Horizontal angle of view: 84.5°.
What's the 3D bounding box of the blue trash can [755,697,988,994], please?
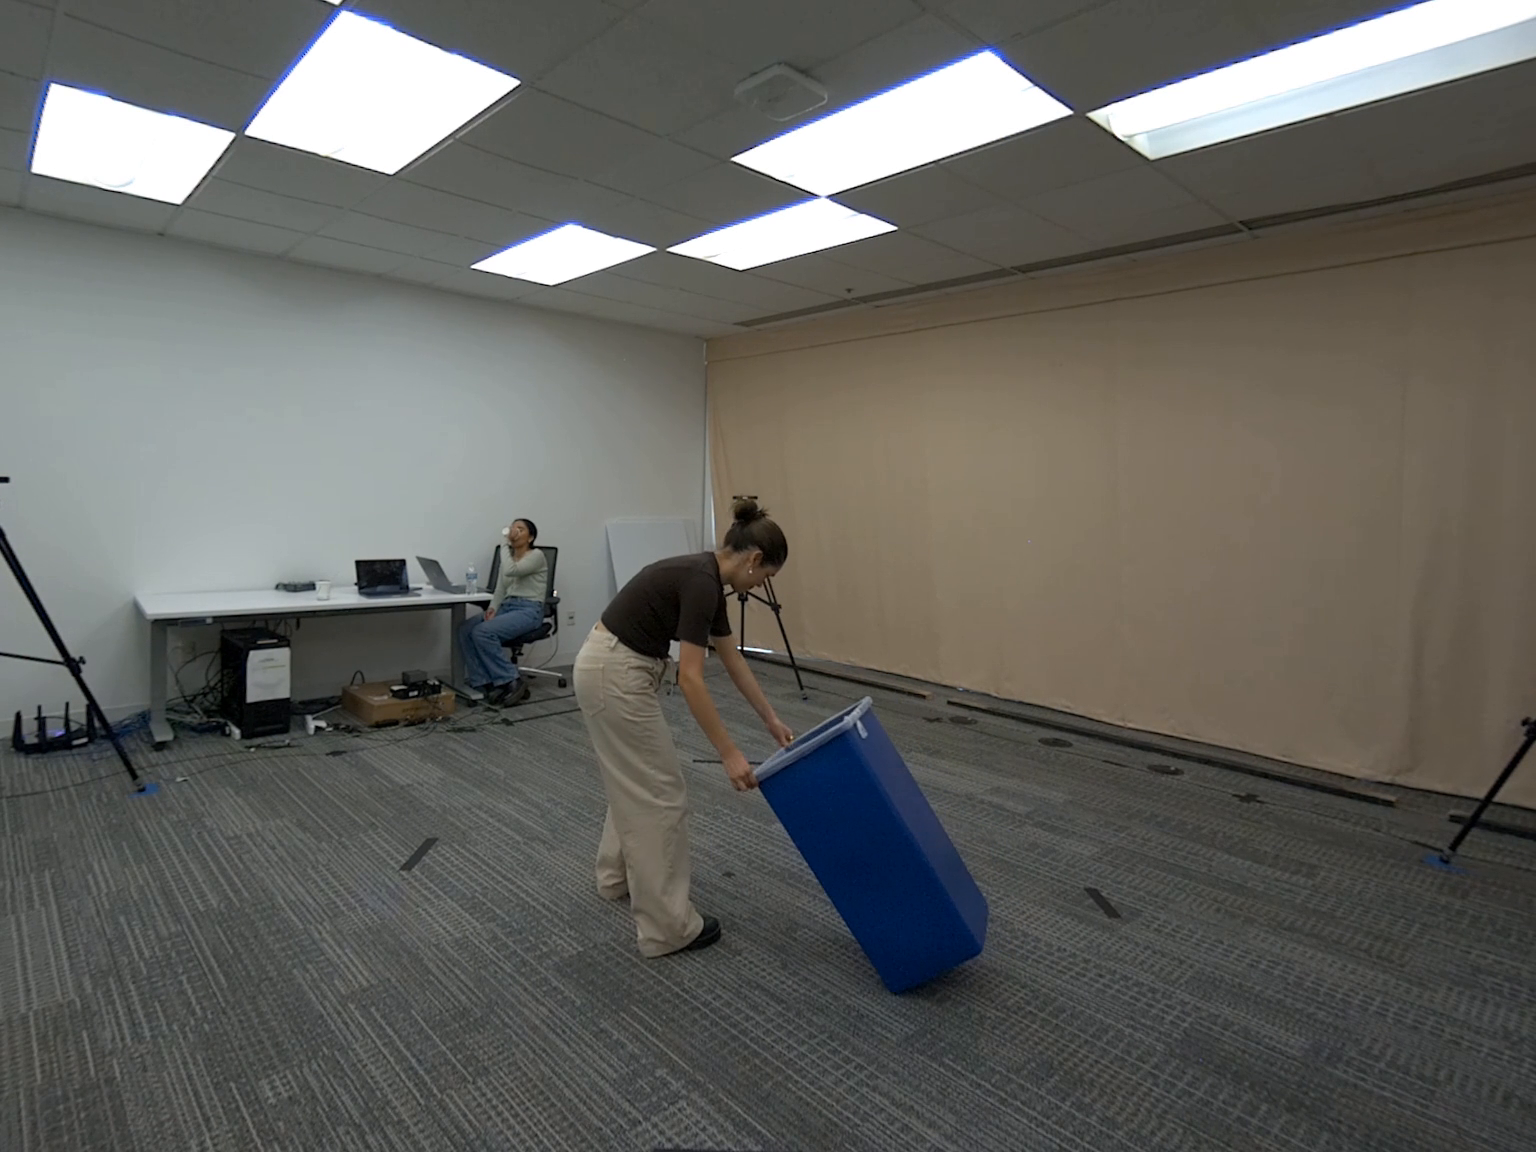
[{"bbox_3d":[0.308,0.794,2.527,0.375,0.721,0.373,-34,-9,18],"label":"blue trash can"}]
